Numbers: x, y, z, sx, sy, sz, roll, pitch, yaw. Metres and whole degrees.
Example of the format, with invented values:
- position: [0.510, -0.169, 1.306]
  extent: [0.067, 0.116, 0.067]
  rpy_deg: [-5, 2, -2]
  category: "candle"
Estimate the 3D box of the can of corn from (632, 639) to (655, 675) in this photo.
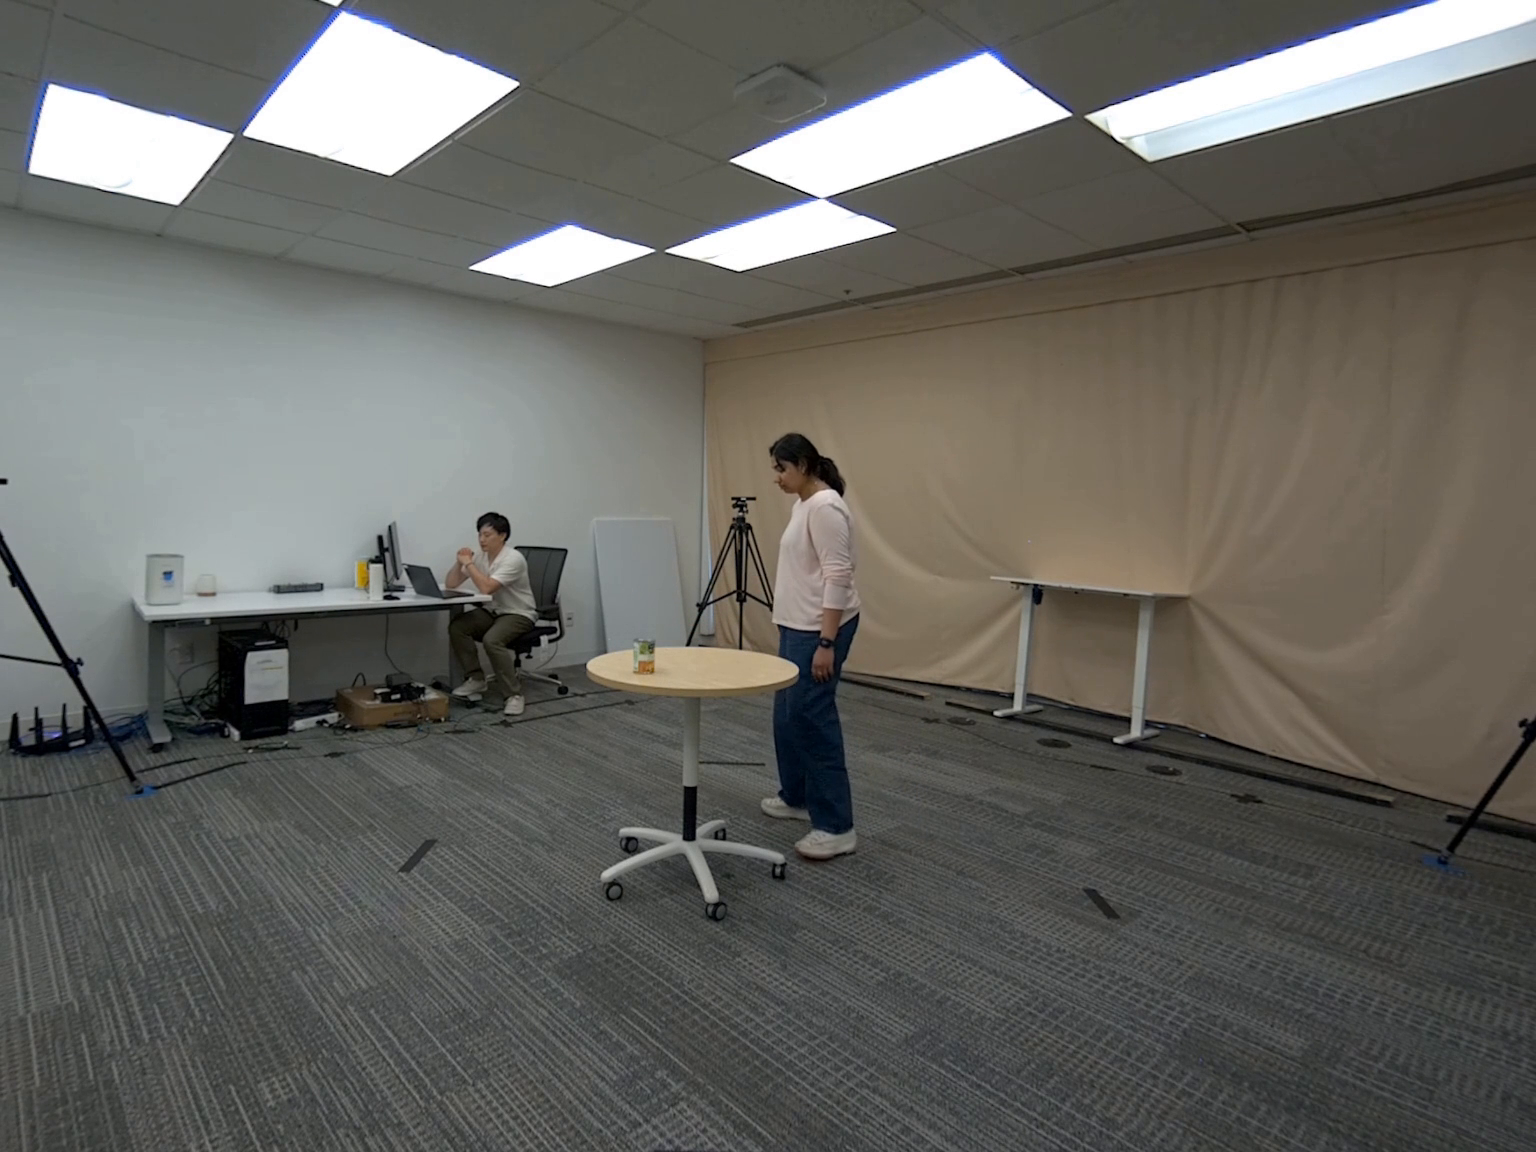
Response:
- position: [-0.436, 0.279, 2.893]
  extent: [0.074, 0.111, 0.074]
  rpy_deg: [1, 2, -1]
  category: "can of corn"
